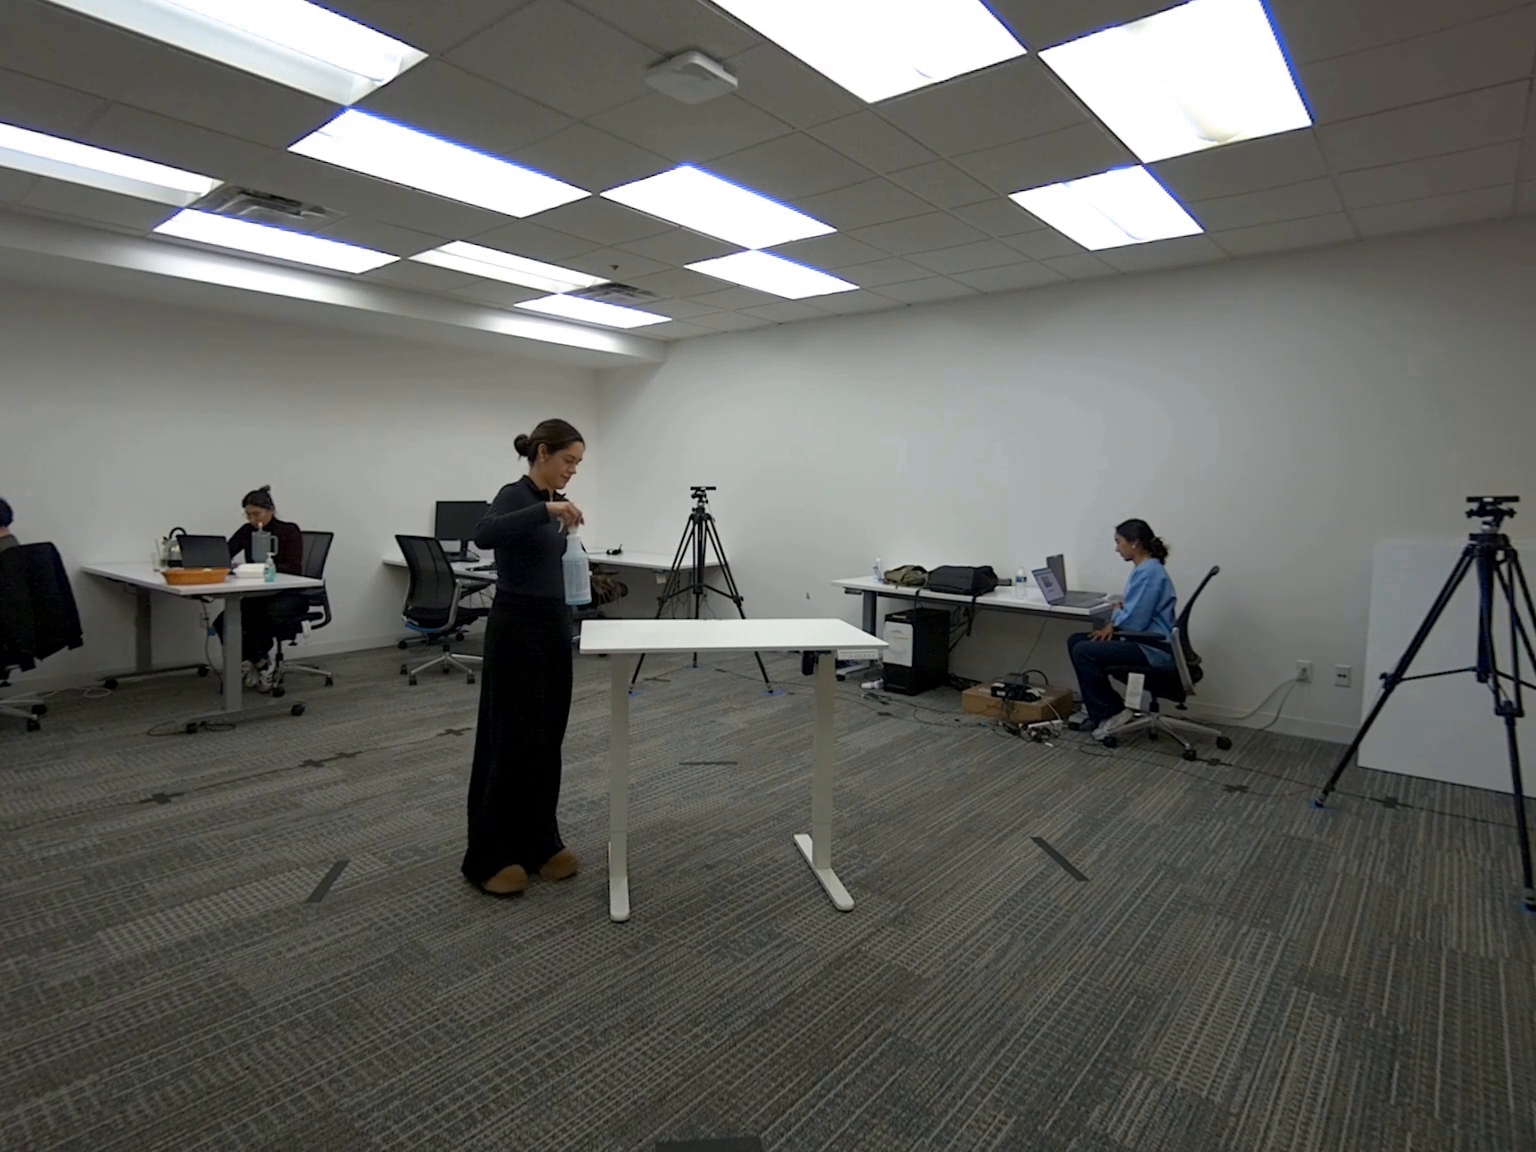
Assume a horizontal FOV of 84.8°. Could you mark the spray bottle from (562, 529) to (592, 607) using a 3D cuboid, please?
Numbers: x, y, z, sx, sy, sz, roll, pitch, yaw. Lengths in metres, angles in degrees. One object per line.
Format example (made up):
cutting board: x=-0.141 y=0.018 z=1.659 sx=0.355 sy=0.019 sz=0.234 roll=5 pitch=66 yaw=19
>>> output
spray bottle: x=-0.662 y=-0.053 z=2.828 sx=0.090 sy=0.296 sz=0.087 roll=-3 pitch=4 yaw=-1
